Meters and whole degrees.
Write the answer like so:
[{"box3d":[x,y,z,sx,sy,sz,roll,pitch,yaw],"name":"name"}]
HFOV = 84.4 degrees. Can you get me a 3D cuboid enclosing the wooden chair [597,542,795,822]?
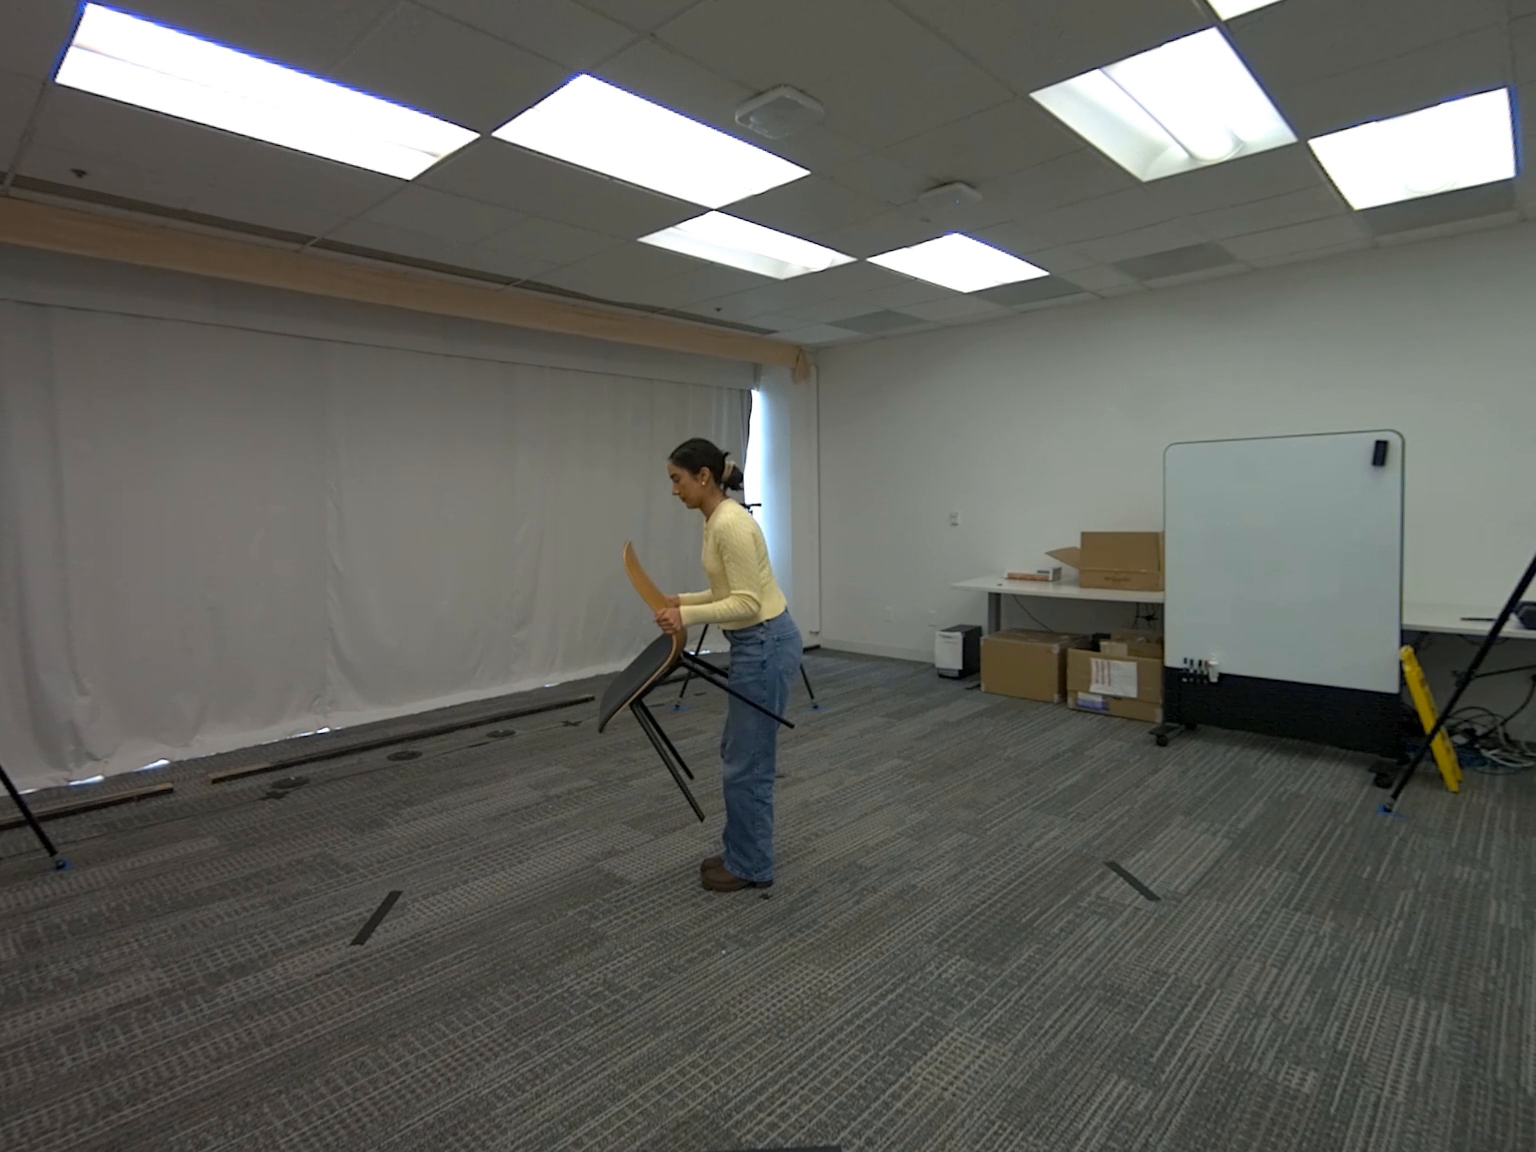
[{"box3d":[-0.408,0.369,3.020,0.522,0.870,0.483,-40,7,-3],"name":"wooden chair"}]
